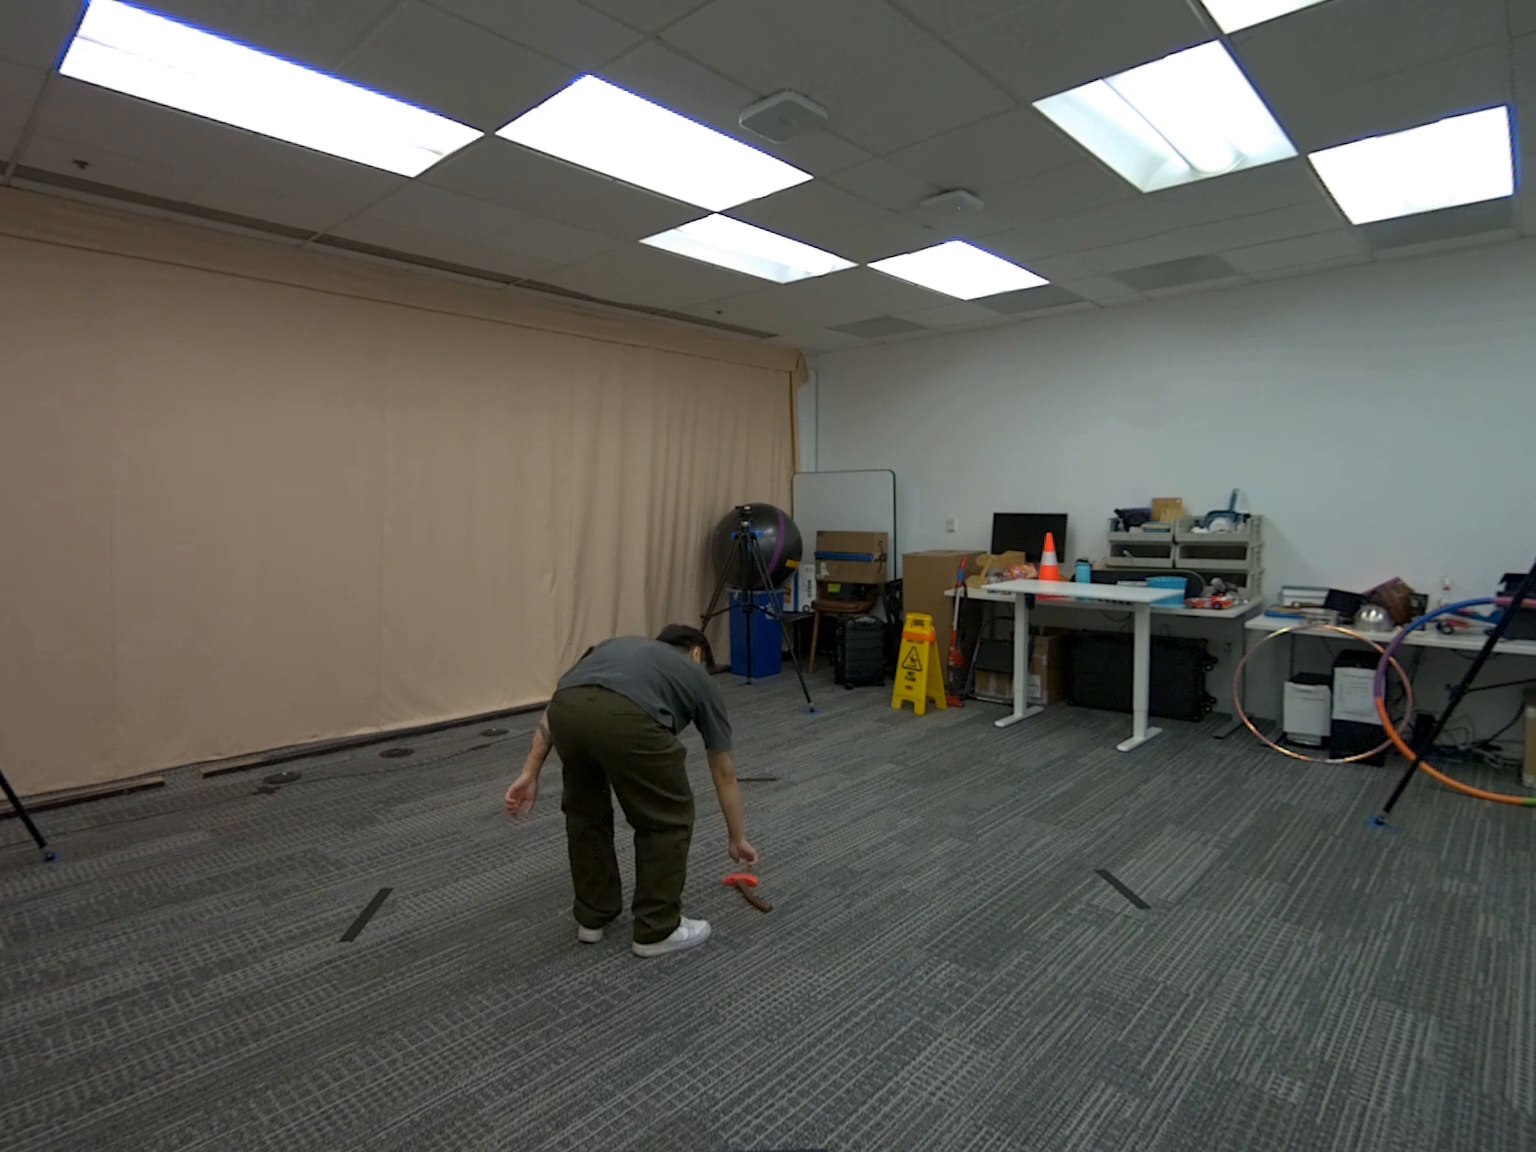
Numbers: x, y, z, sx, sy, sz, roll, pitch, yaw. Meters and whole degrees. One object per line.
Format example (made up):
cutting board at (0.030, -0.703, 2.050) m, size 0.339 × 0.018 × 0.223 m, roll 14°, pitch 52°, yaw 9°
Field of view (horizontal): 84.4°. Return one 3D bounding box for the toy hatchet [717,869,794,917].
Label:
toy hatchet at (-0.048, 1.122, 3.021) m, size 0.127 × 0.029 × 0.279 m, roll 0°, pitch 6°, yaw -38°
